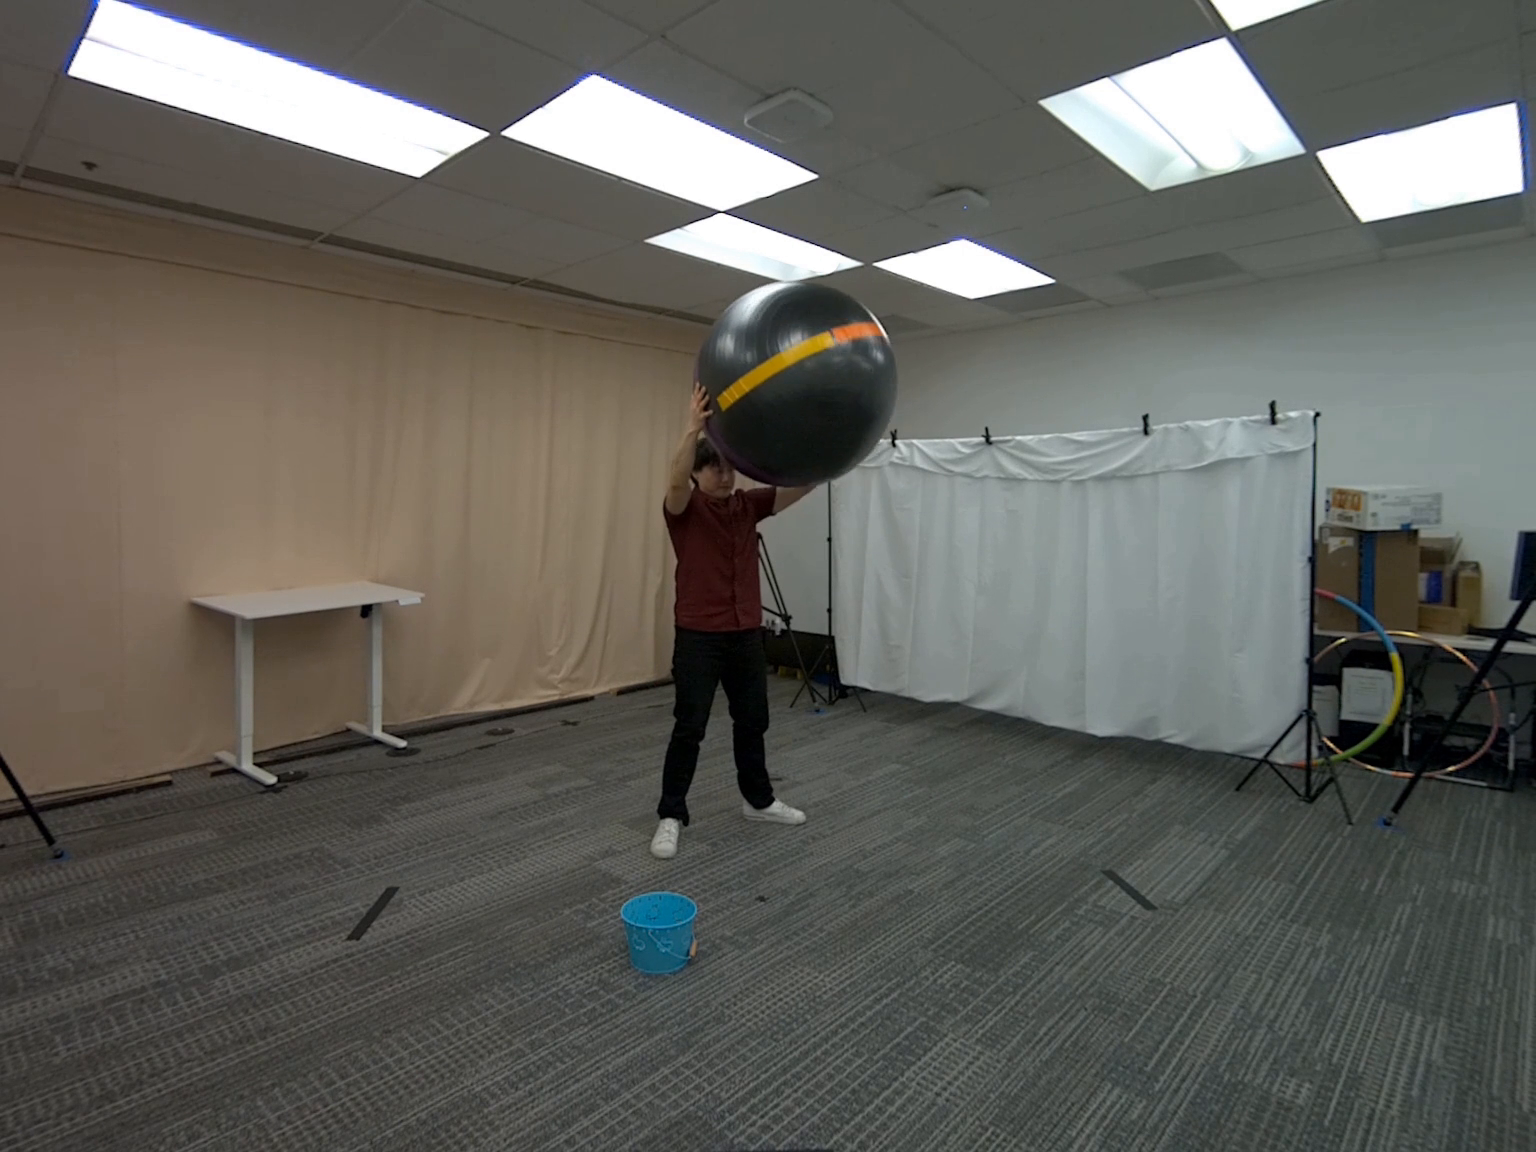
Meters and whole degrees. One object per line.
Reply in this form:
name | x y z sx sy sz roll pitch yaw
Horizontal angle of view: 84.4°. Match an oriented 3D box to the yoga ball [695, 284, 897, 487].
yoga ball | 0.100 -0.693 3.149 0.757 0.756 0.760 0 4 -2
